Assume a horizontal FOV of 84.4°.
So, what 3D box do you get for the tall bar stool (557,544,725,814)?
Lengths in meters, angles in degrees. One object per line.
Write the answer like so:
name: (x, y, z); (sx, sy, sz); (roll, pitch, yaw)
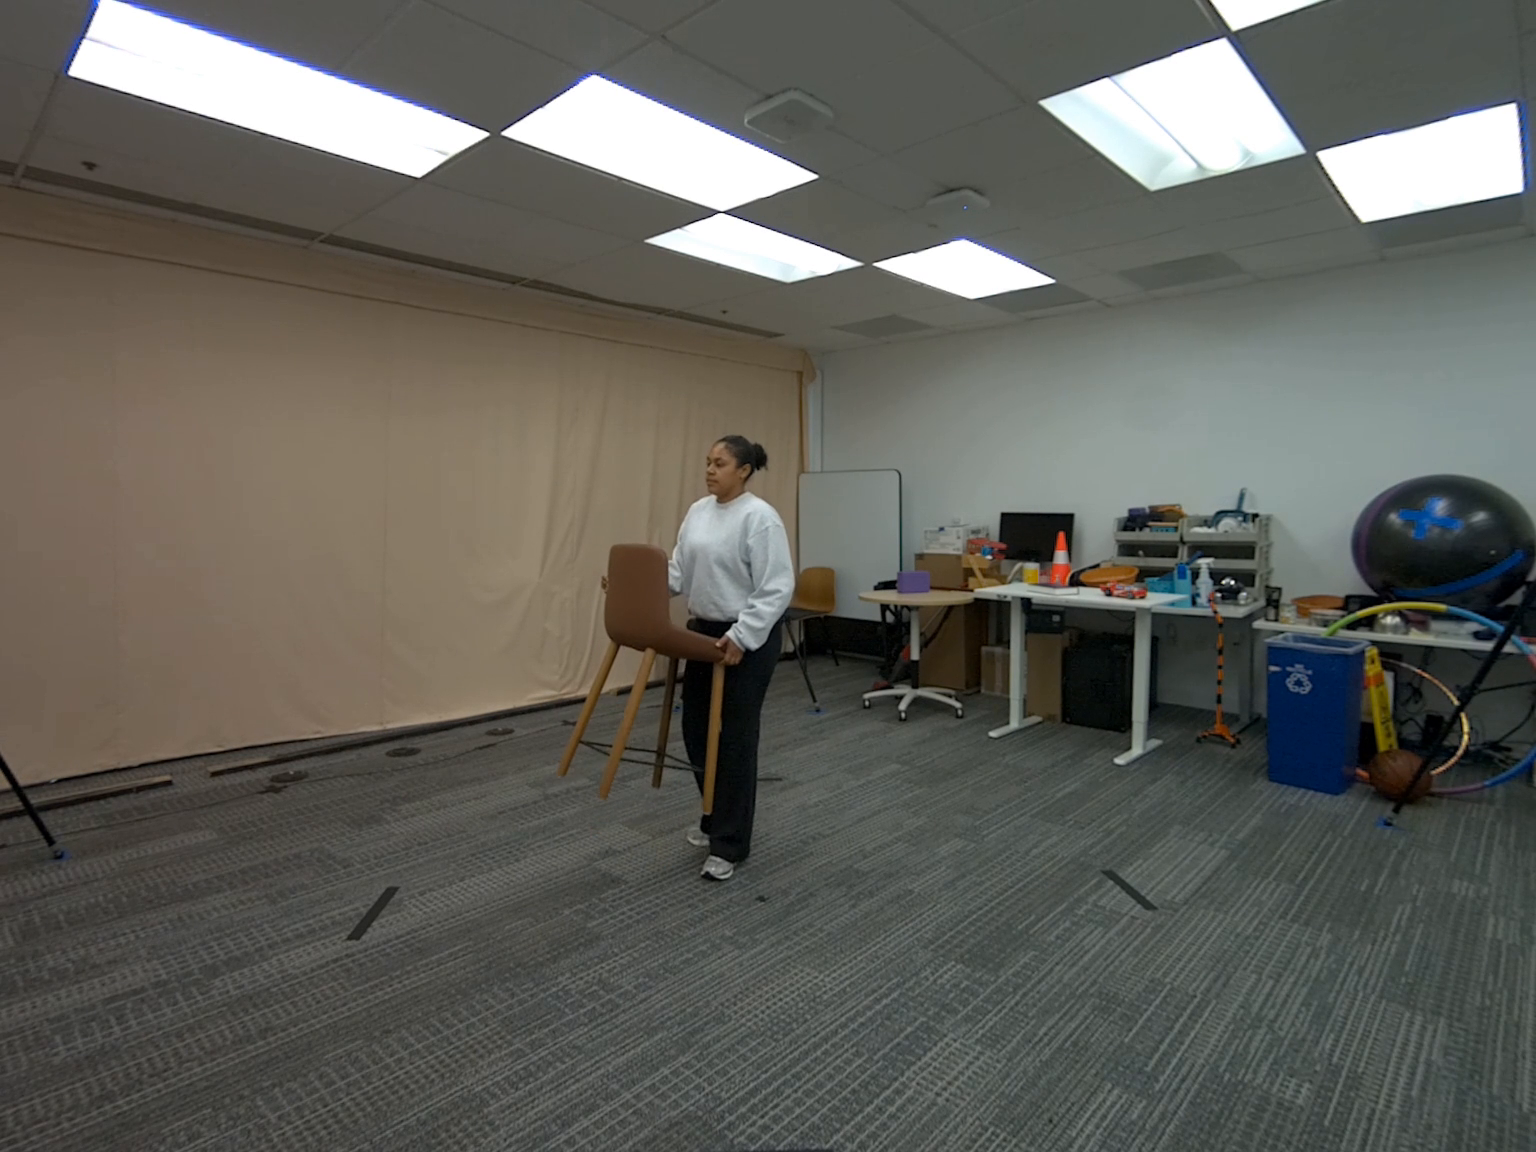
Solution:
tall bar stool: (-0.413, 0.373, 3.115); (0.452, 0.892, 0.470); (16, -9, -34)
